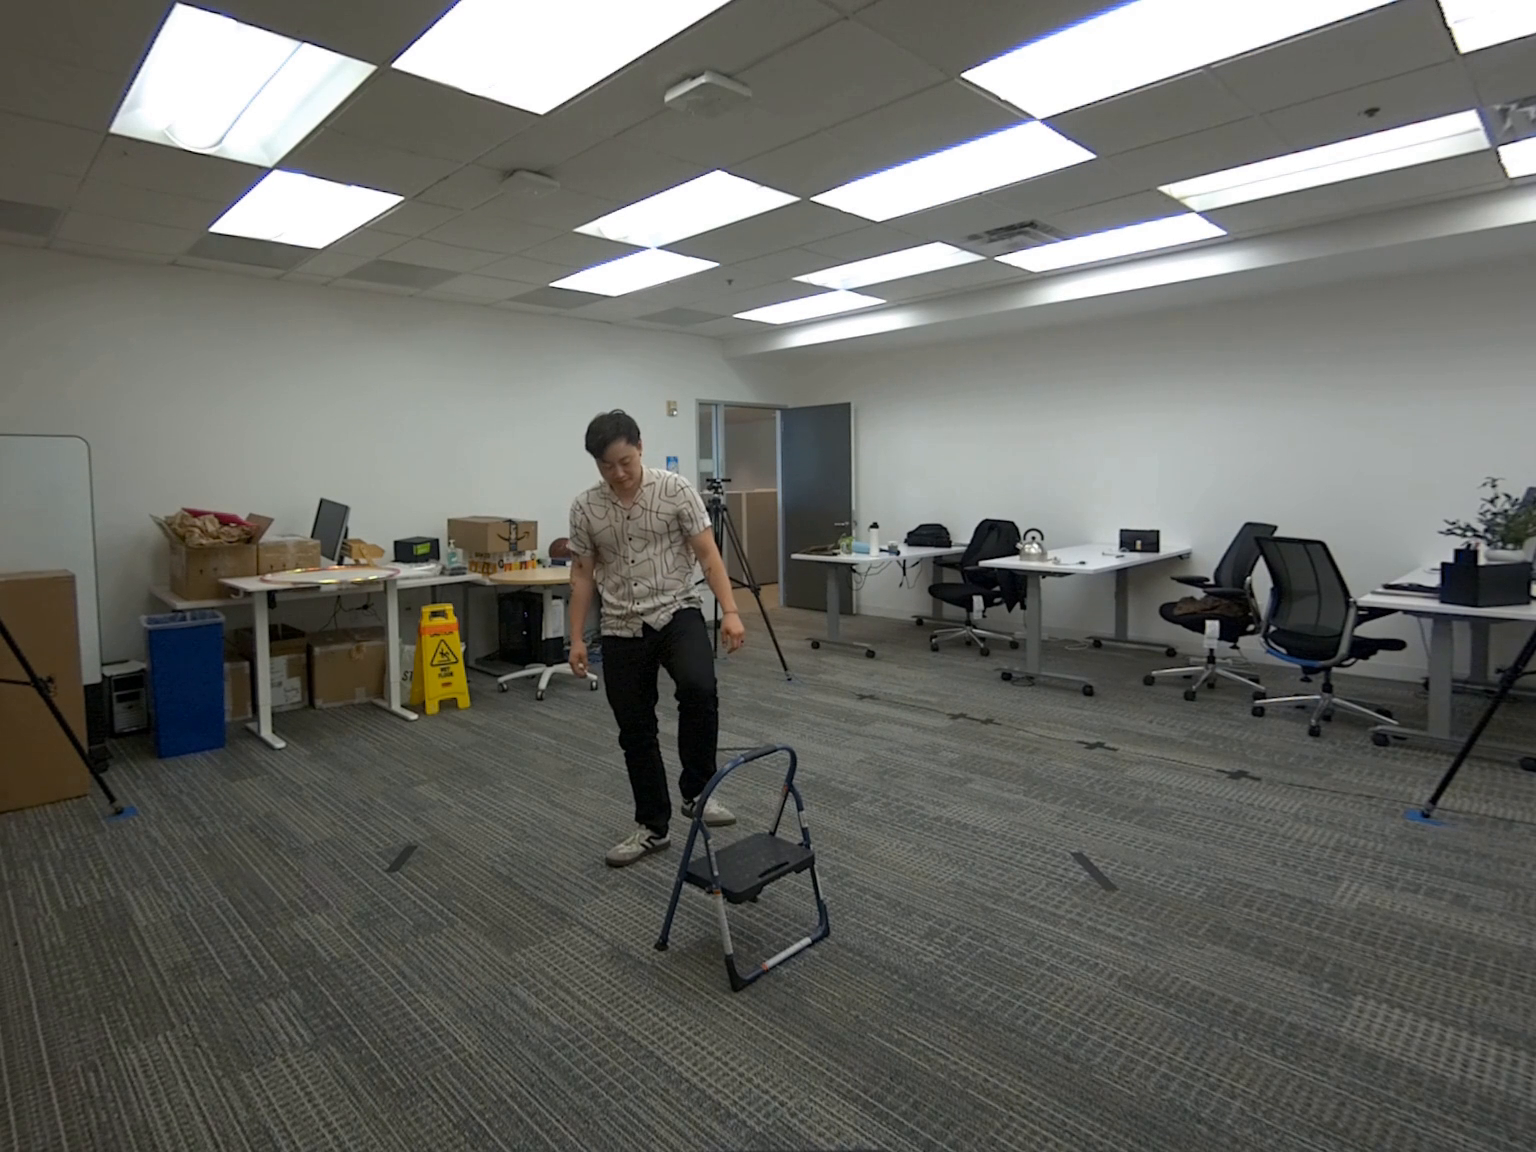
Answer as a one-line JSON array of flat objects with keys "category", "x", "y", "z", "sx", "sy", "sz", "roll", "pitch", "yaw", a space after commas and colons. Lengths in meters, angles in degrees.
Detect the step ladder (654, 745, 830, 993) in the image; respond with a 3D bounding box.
[{"category": "step ladder", "x": -0.075, "y": 0.803, "z": 2.570, "sx": 0.360, "sy": 0.604, "sz": 0.419, "roll": 3, "pitch": 6, "yaw": 43}]
